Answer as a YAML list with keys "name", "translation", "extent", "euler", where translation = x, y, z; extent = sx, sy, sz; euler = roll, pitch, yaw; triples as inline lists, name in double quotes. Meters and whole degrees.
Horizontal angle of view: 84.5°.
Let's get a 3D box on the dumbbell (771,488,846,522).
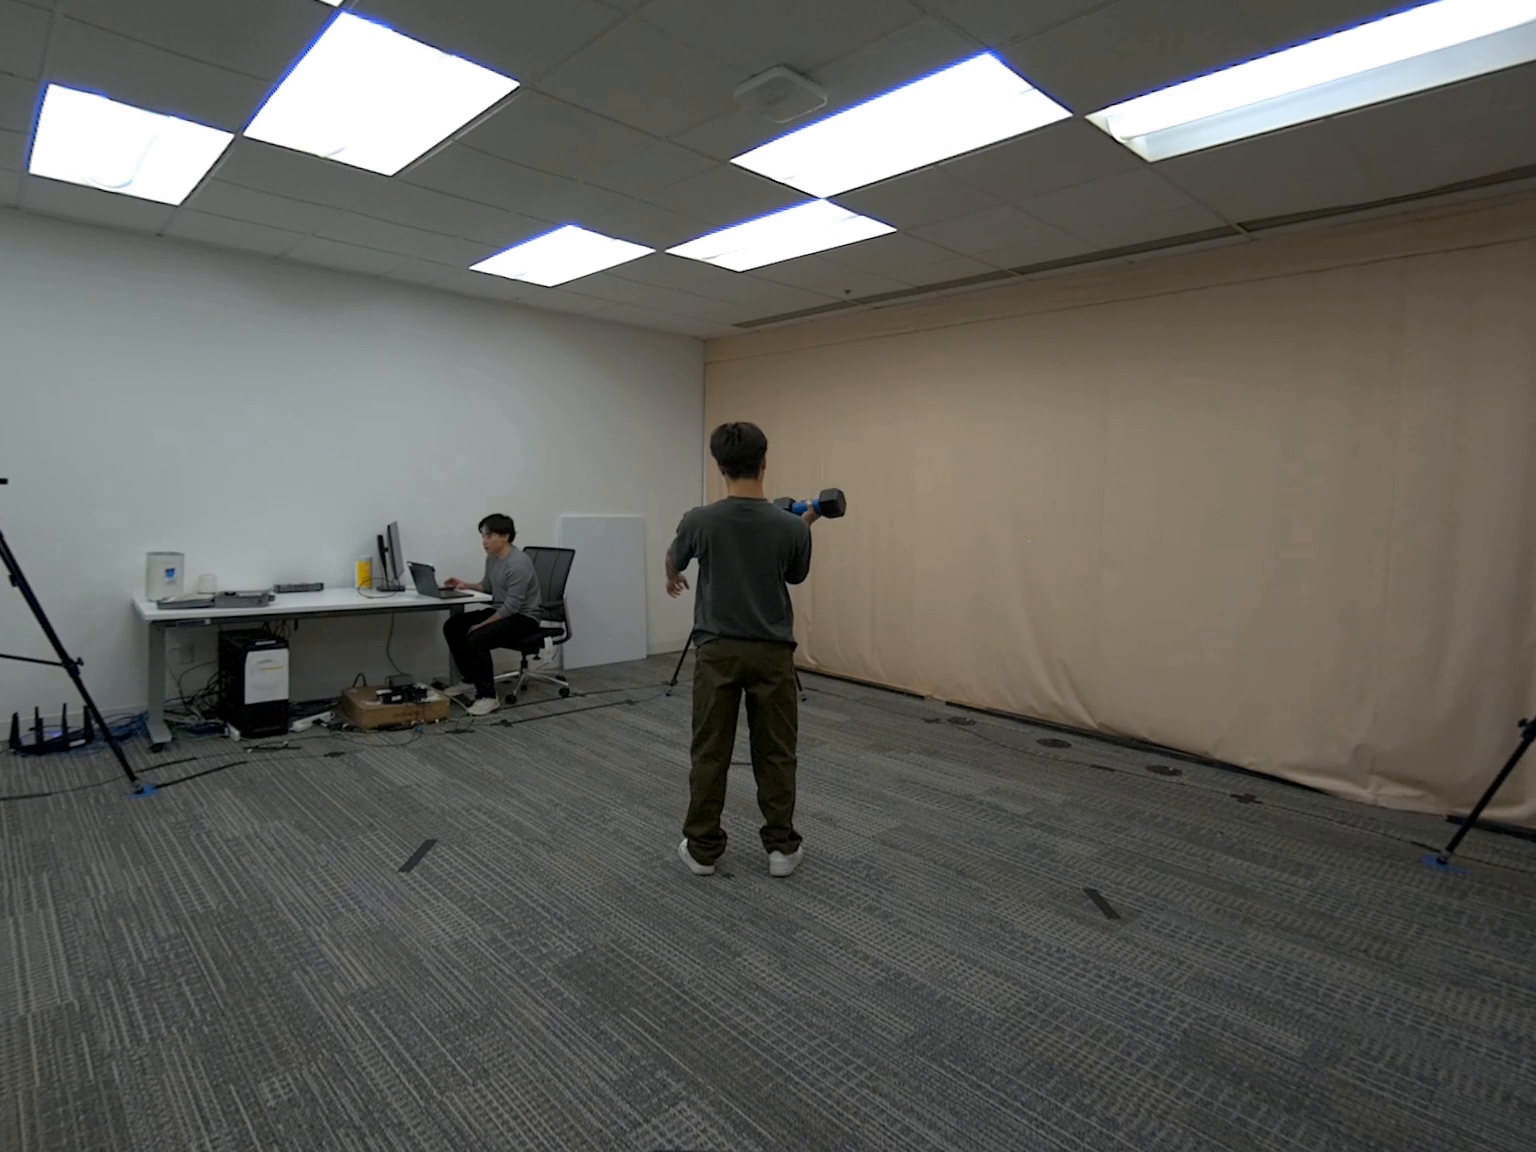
- name: "dumbbell"
  translation: [0.157, -0.270, 3.382]
  extent: [0.298, 0.121, 0.108]
  euler: [-8, 21, 29]
